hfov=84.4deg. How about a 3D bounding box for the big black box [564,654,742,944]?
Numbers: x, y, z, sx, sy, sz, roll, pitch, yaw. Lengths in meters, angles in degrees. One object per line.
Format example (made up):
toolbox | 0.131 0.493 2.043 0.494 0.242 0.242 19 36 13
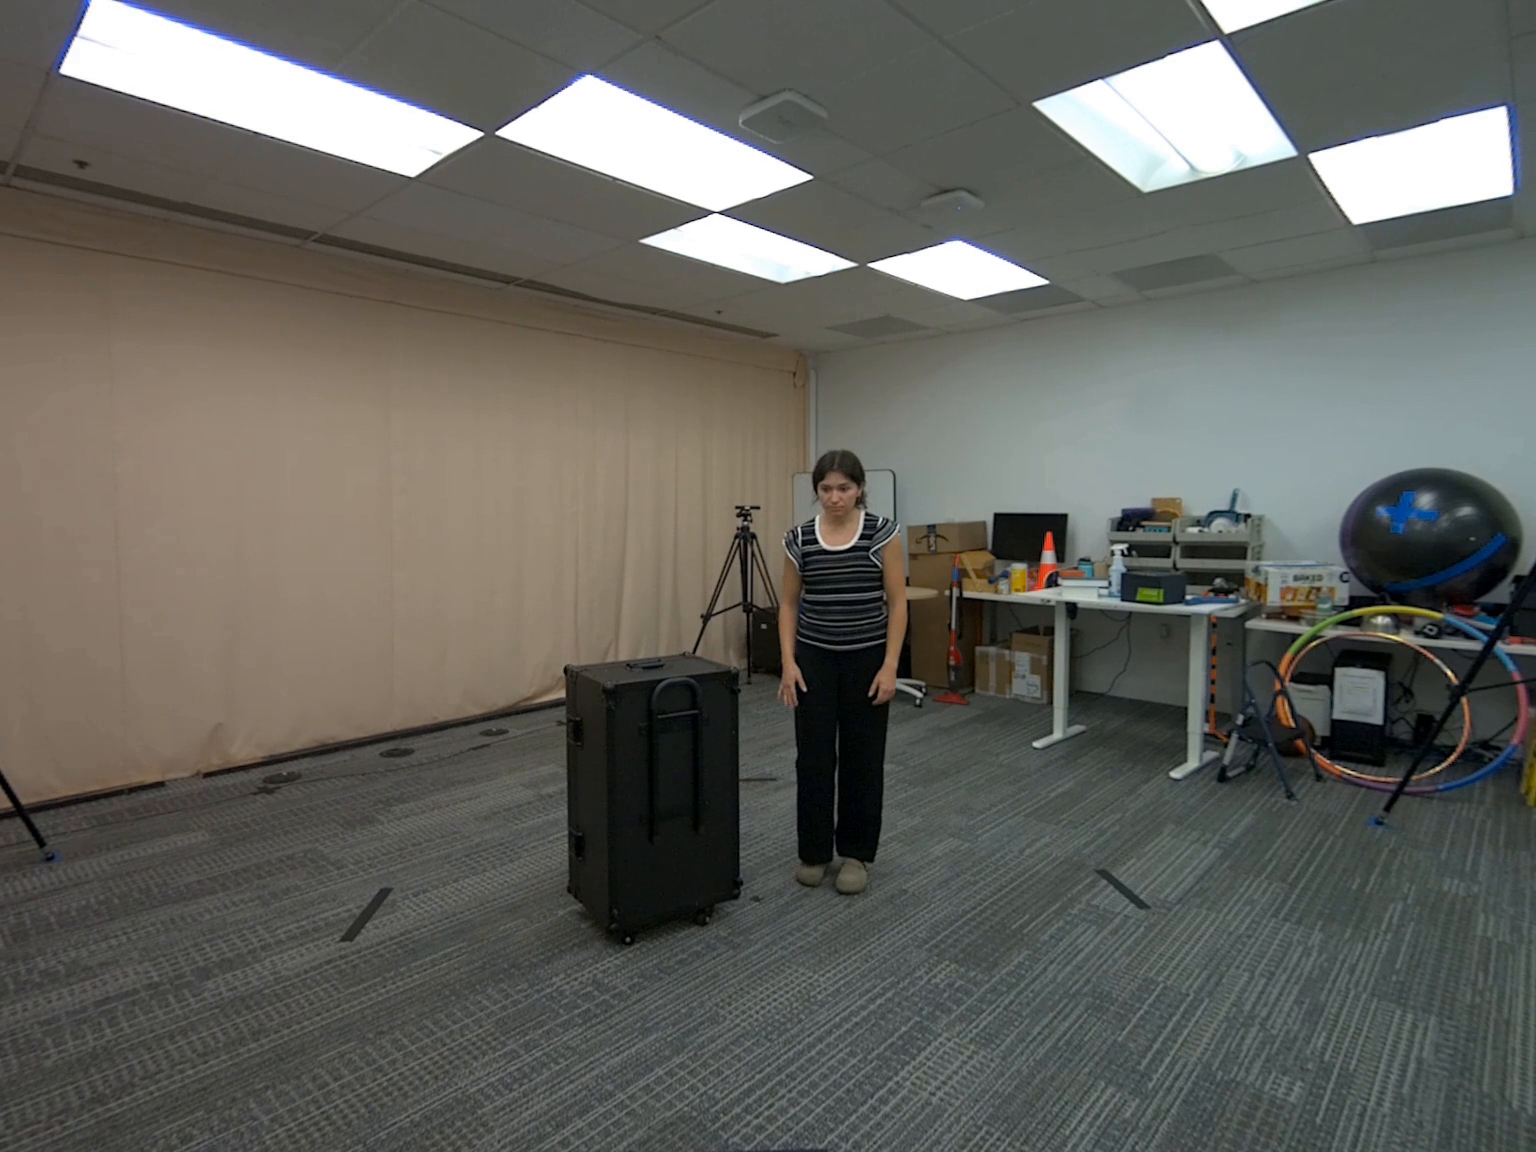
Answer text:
big black box | -0.381 0.734 2.842 0.507 0.859 0.408 -2 4 -32
